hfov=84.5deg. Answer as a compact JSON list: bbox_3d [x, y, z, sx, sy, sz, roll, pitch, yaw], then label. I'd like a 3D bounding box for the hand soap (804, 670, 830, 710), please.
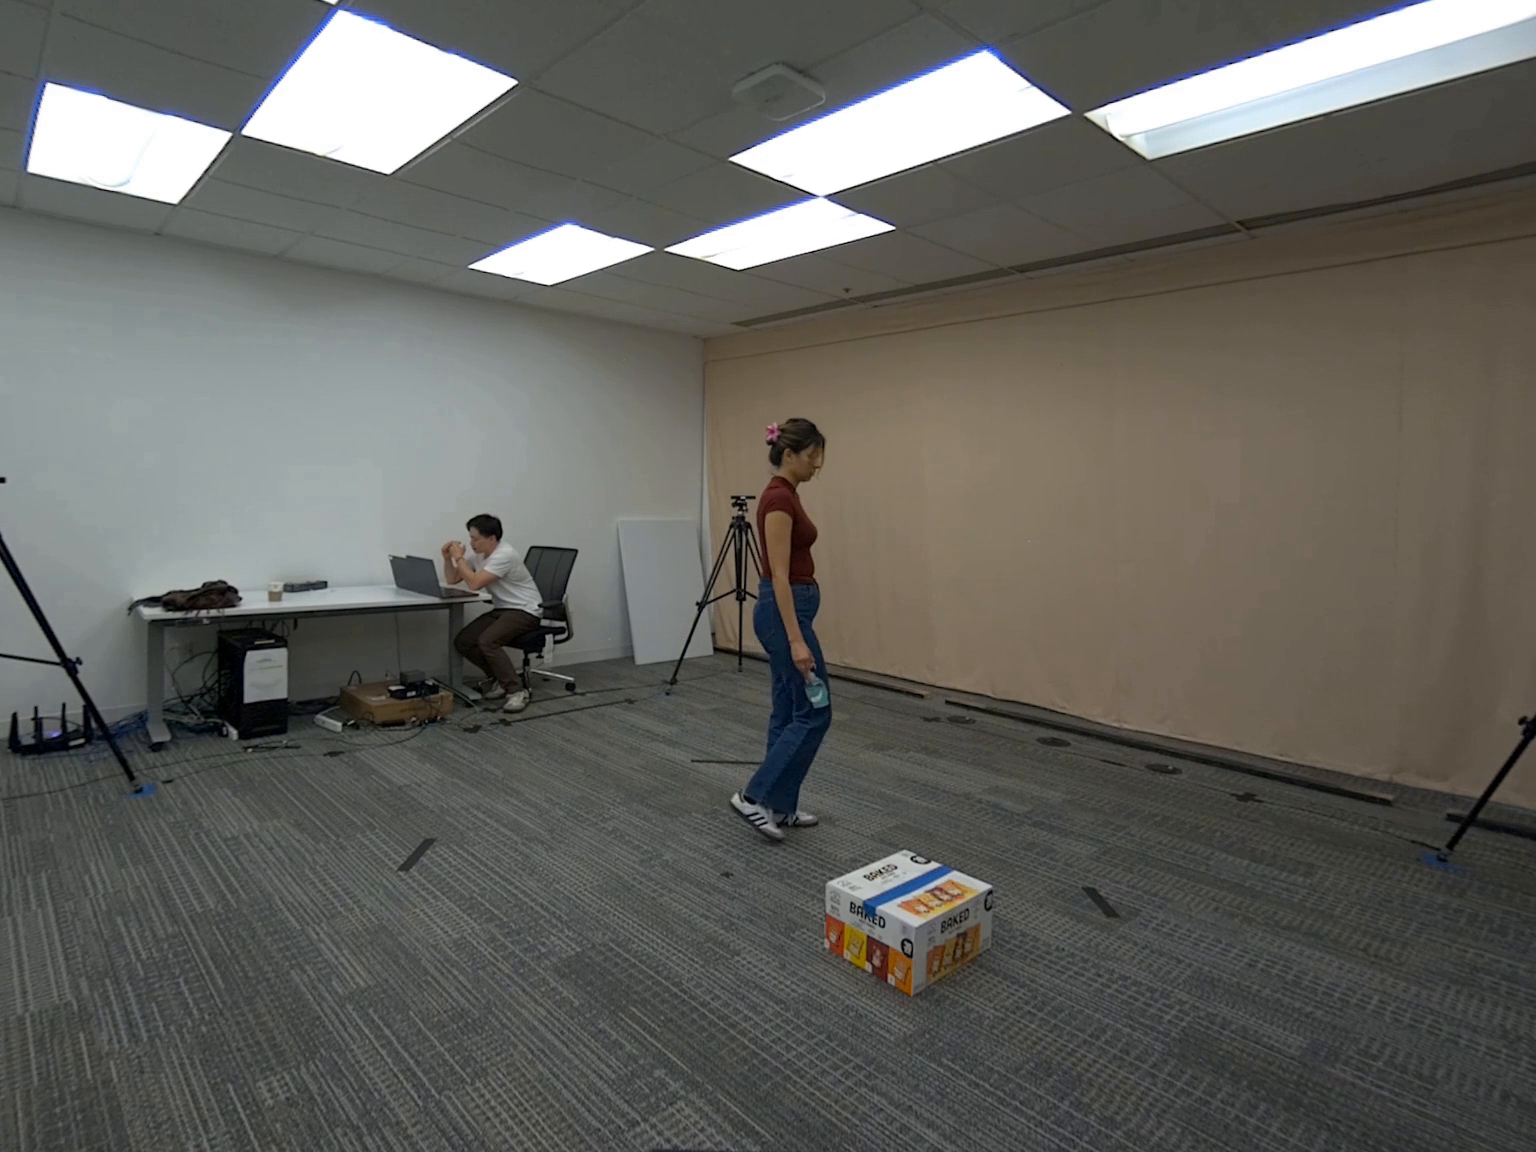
[{"bbox_3d":[0.154,0.424,3.235,0.086,0.168,0.043,-11,1,29],"label":"hand soap"}]
